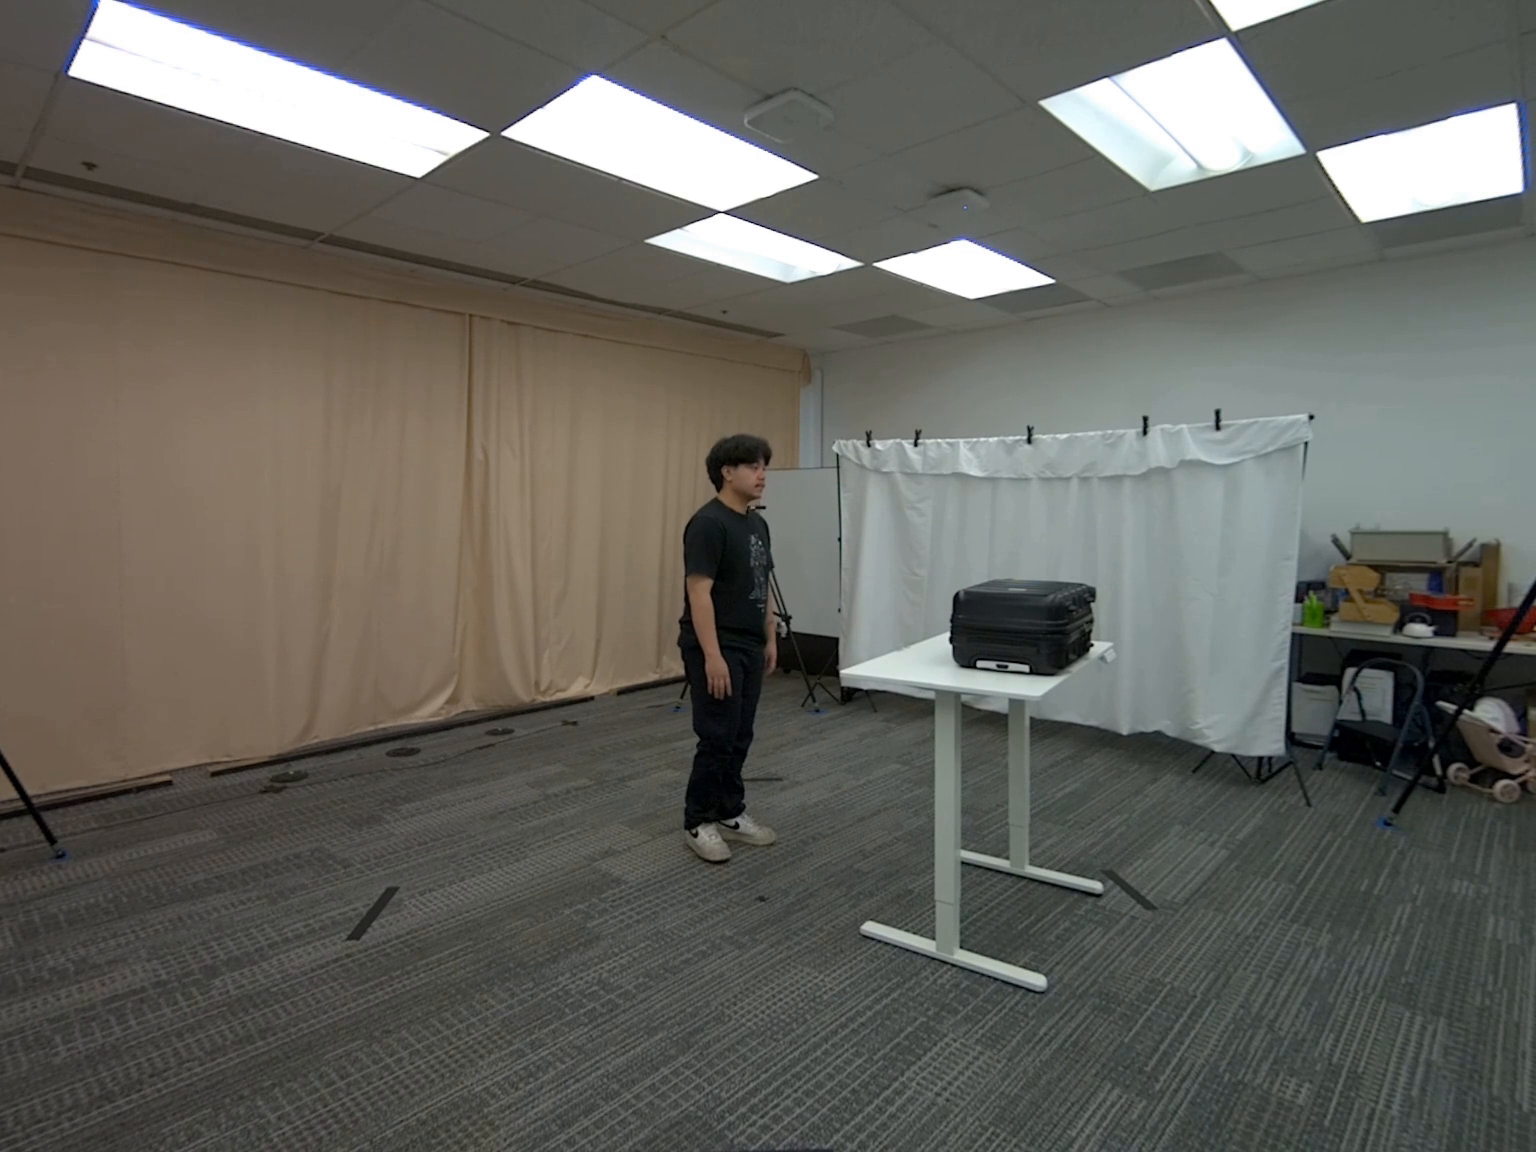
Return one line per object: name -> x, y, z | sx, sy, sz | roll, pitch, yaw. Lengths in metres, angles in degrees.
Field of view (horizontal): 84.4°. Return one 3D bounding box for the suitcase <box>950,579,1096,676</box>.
suitcase -> 0.843, 0.159, 2.760 | 0.387, 0.248, 0.534 | 3, 6, 33
